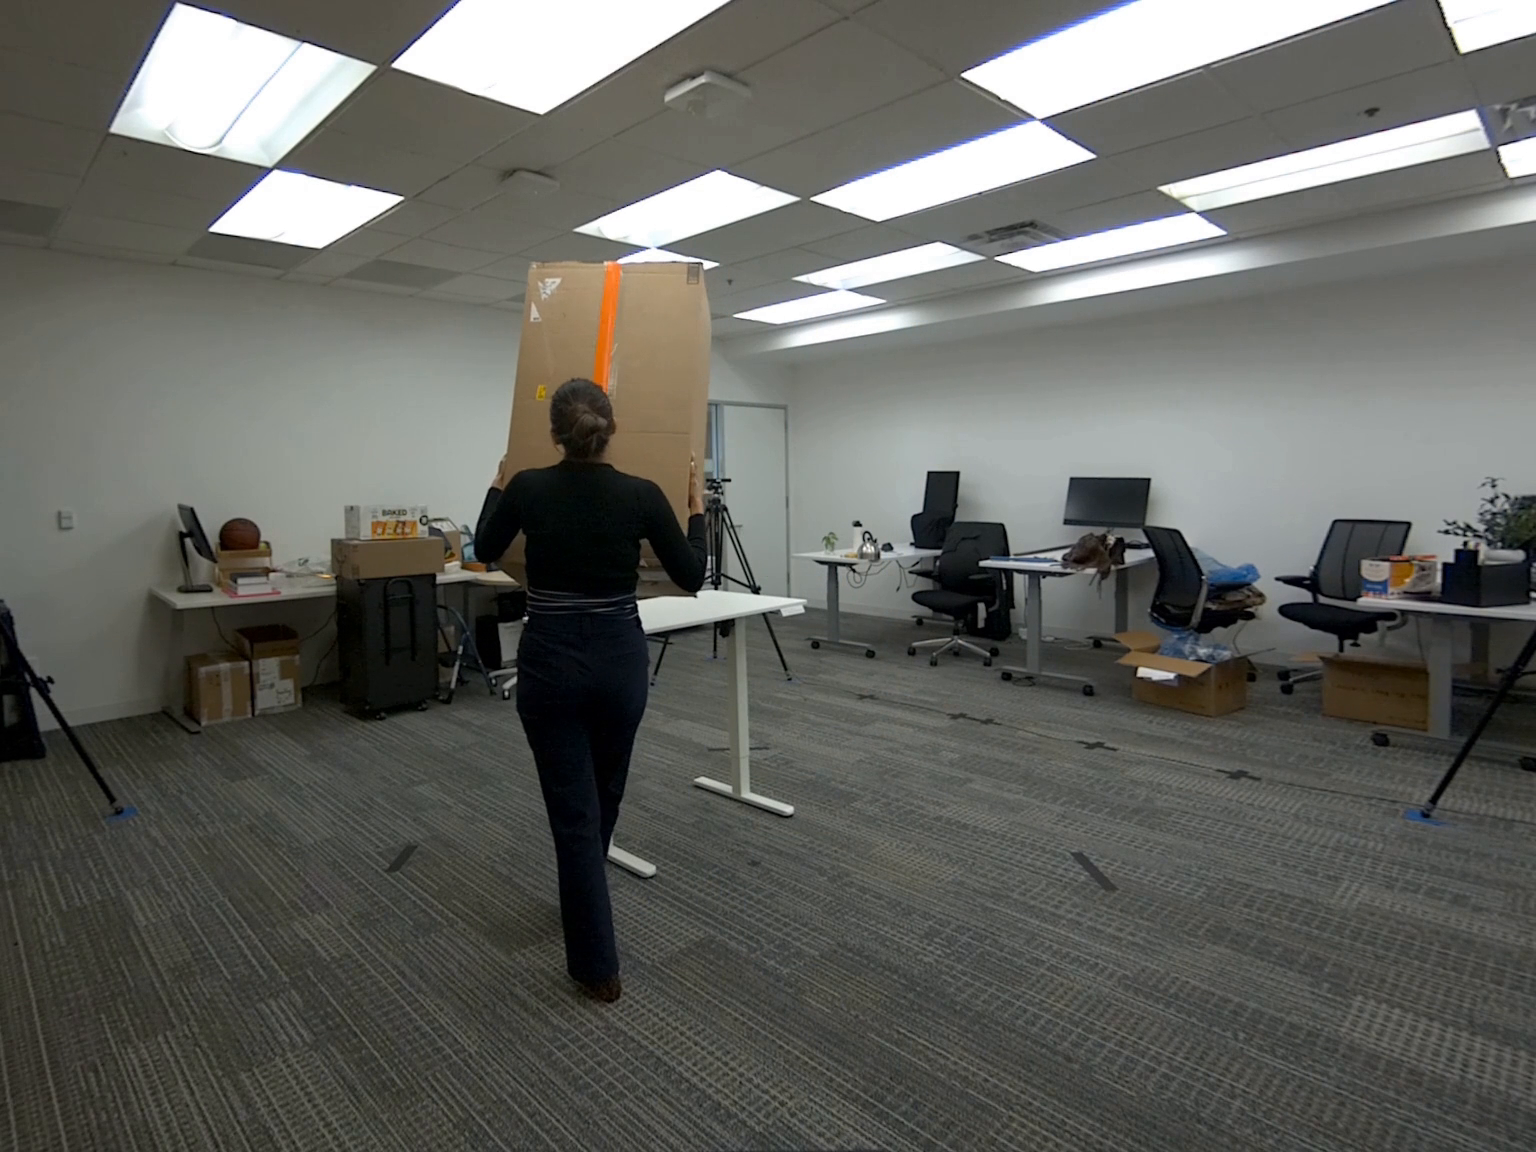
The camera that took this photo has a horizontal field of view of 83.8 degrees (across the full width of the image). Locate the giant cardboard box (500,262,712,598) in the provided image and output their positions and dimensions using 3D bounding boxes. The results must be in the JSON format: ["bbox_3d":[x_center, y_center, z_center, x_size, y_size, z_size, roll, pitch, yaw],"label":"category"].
[{"bbox_3d":[-0.509,-0.477,2.835,0.580,1.039,0.419,1,-15,3],"label":"giant cardboard box"}]
